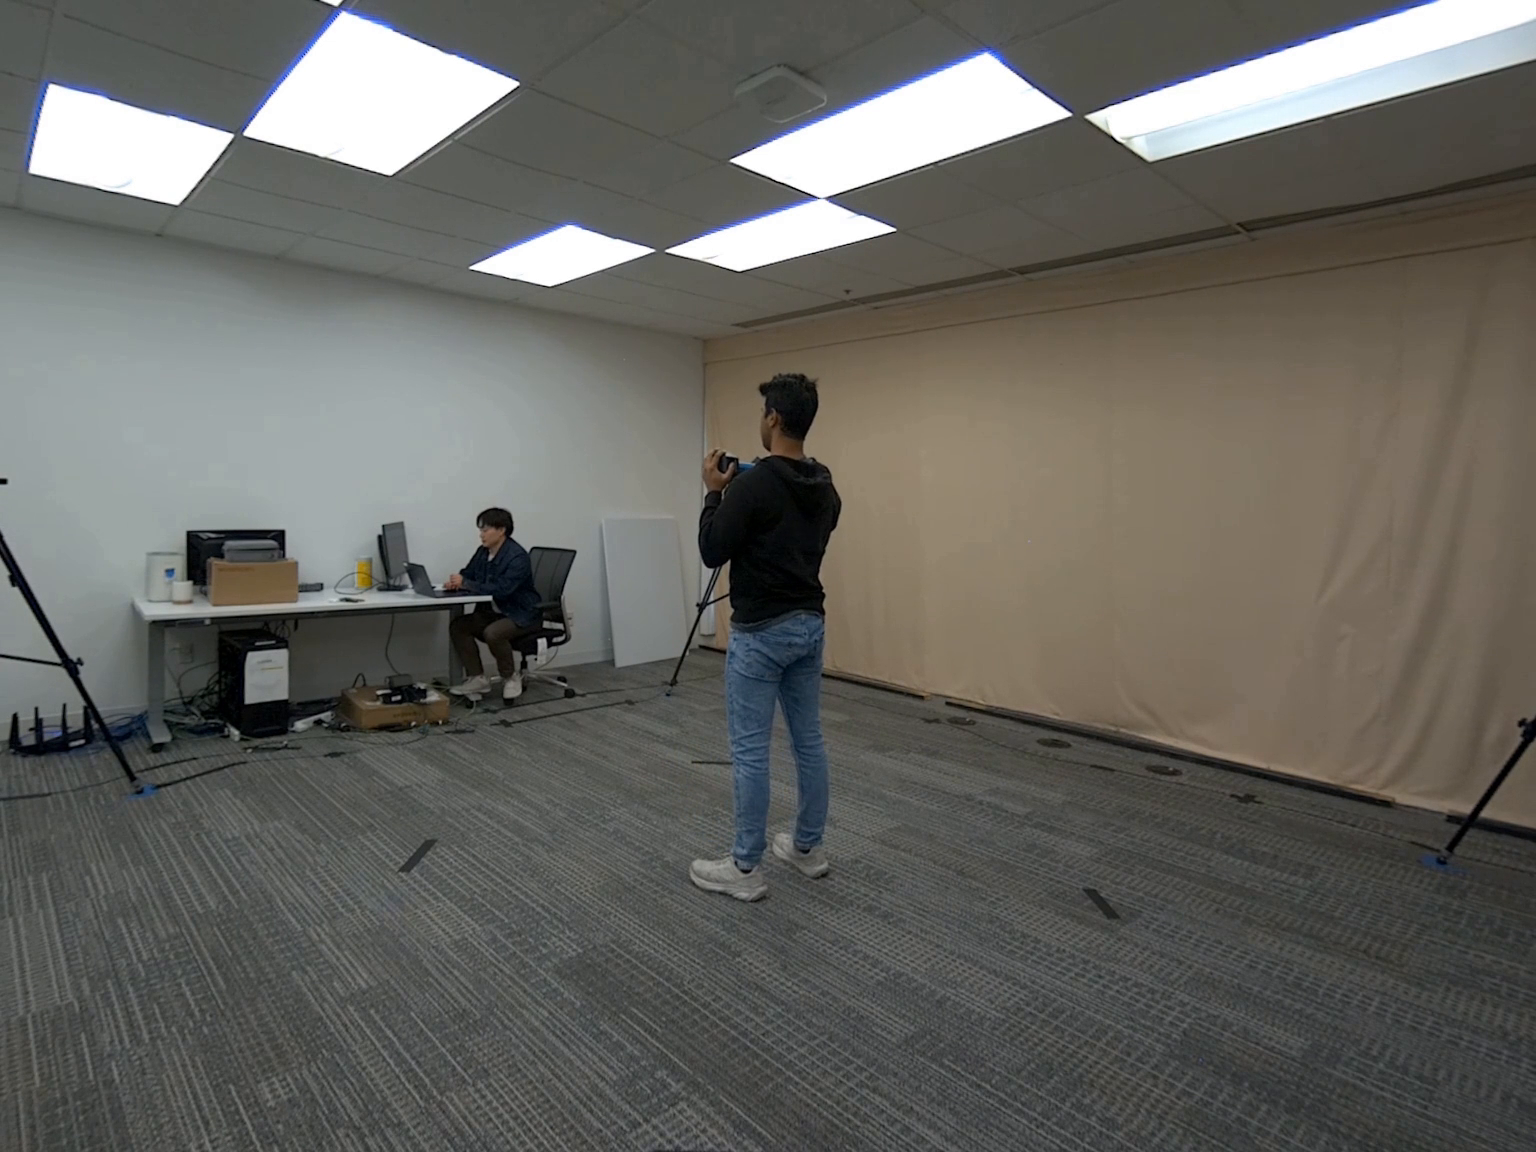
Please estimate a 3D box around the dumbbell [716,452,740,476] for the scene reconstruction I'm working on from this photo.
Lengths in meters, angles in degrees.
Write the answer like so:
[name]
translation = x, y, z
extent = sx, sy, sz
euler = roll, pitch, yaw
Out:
[dumbbell]
translation = -0.085, -0.392, 3.143
extent = 0.286, 0.123, 0.111
euler = 2, -3, -42
